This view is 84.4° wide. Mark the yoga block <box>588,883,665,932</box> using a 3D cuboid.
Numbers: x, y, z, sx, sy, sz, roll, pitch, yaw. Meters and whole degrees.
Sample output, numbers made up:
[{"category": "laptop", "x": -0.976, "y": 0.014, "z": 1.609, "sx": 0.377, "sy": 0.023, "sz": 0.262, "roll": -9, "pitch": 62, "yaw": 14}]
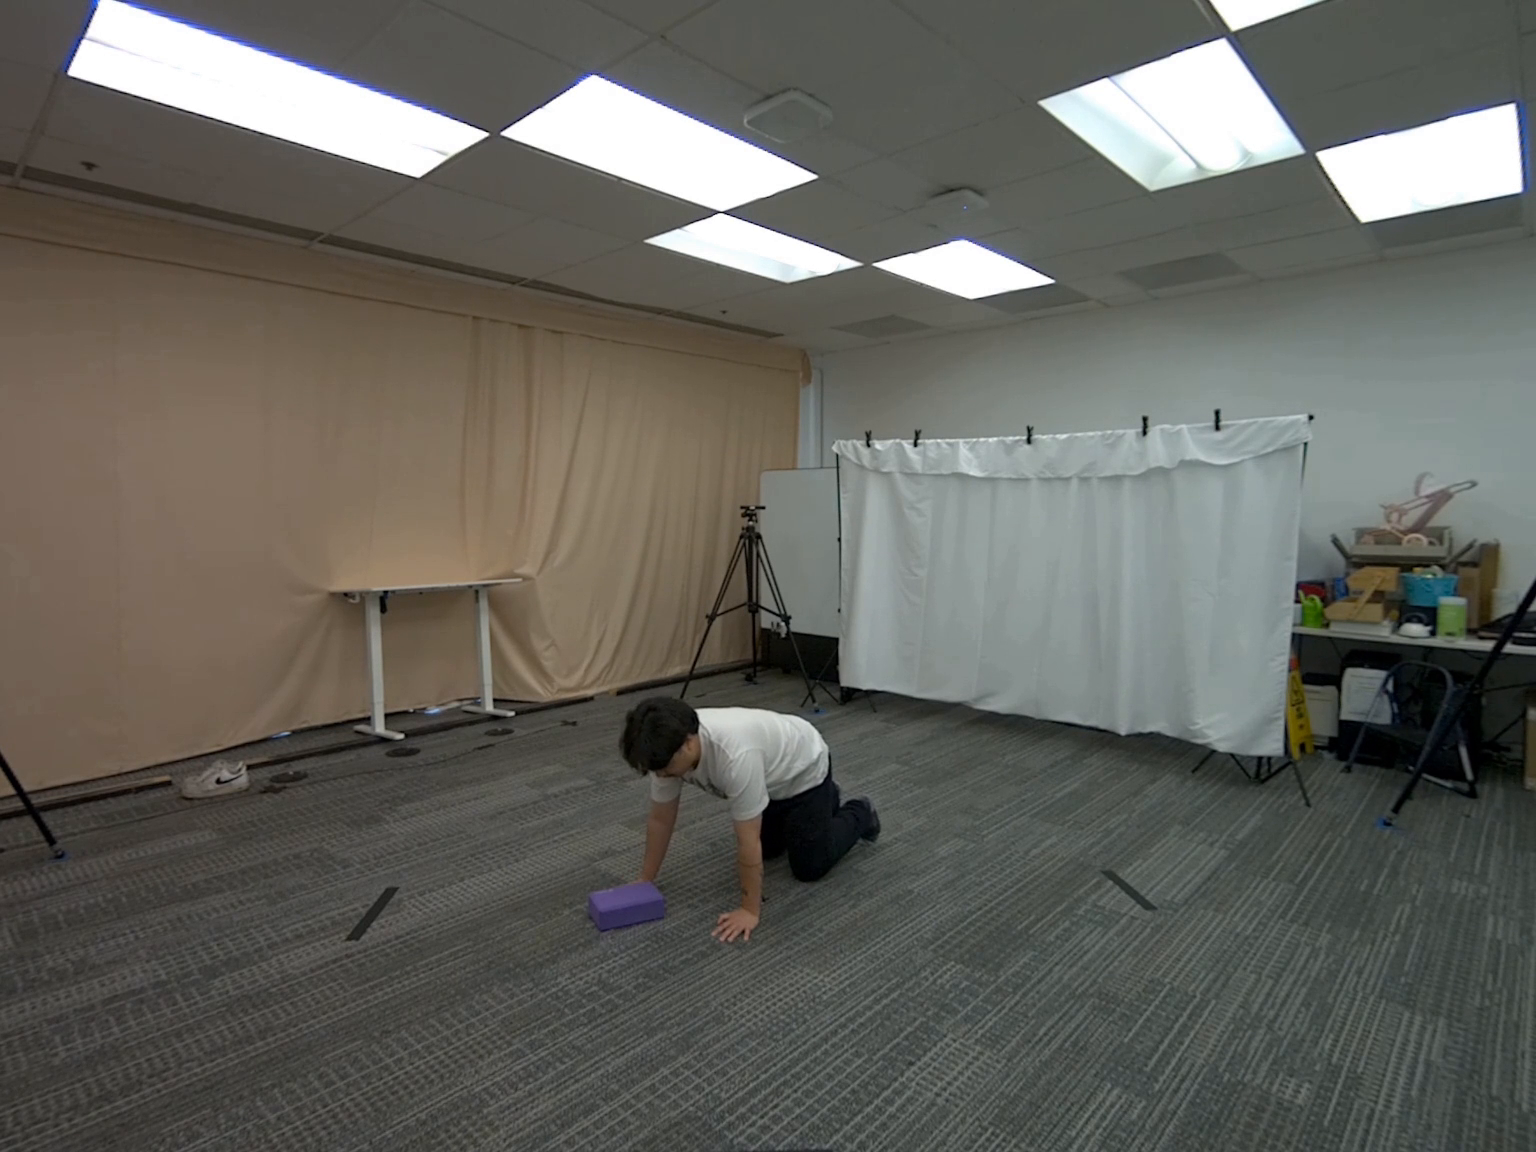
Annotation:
[{"category": "yoga block", "x": -0.484, "y": 1.121, "z": 2.863, "sx": 0.224, "sy": 0.076, "sz": 0.153, "roll": -2, "pitch": 5, "yaw": -24}]
